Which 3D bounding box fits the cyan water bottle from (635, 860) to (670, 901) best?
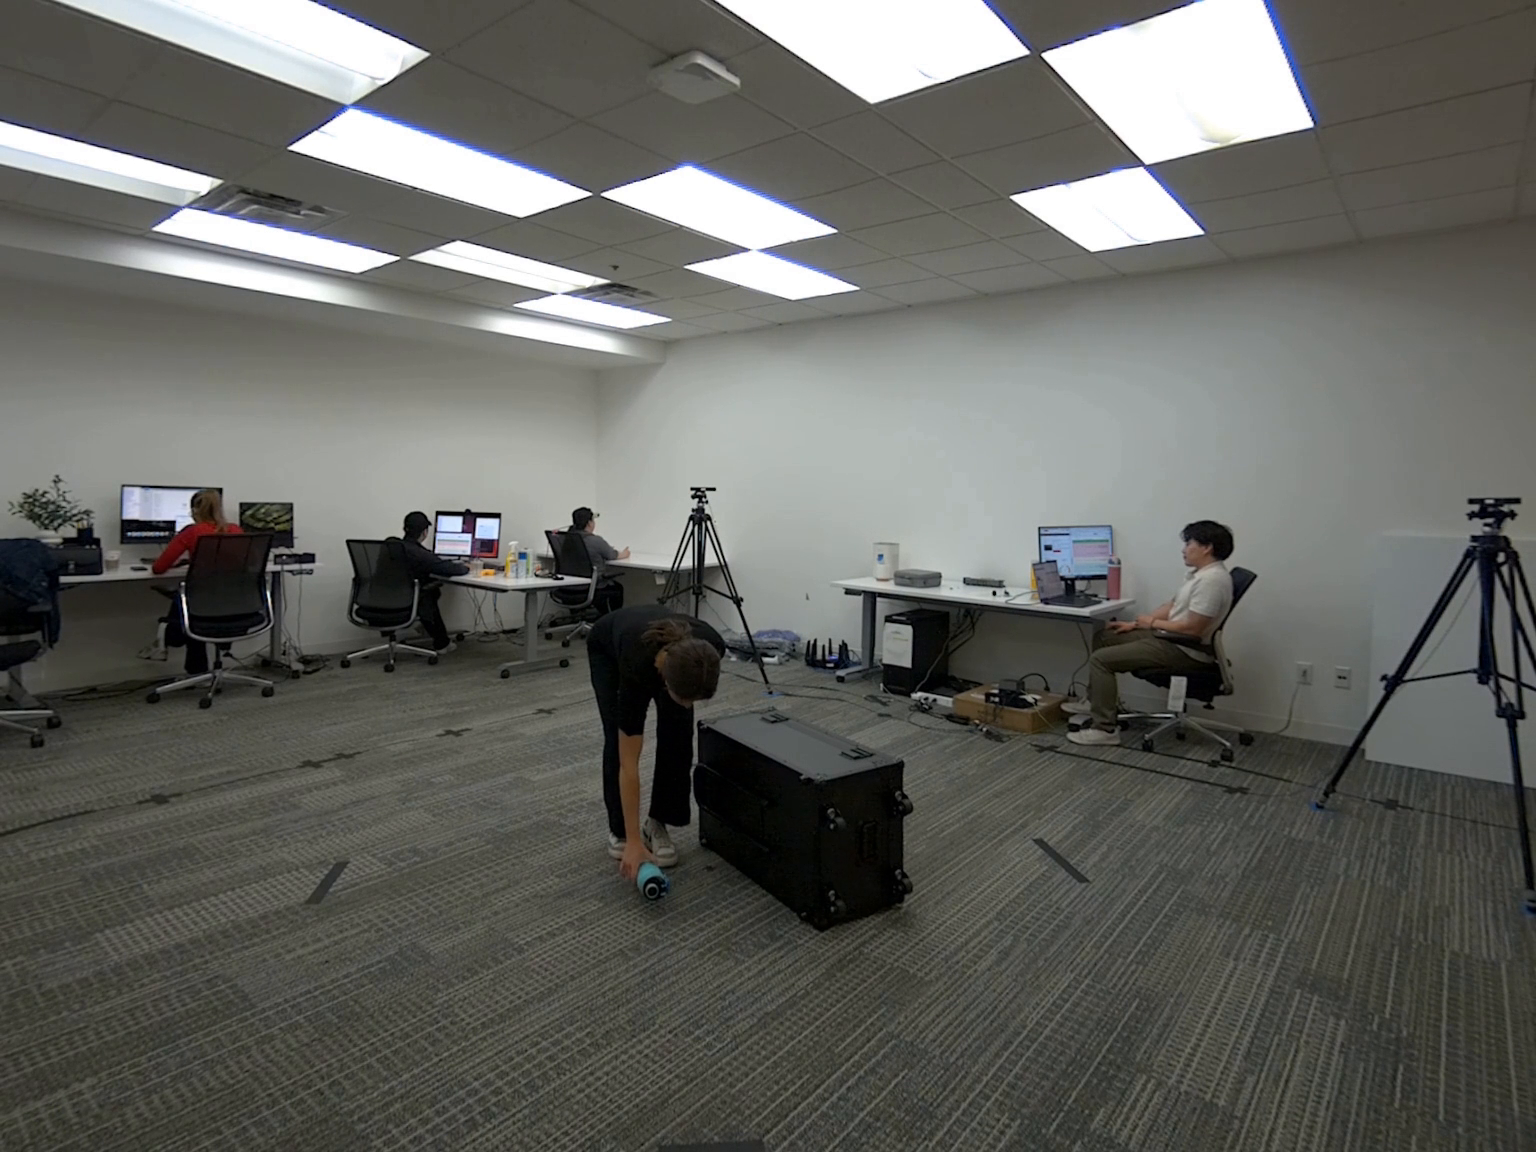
[{"bbox_3d":[-0.416,1.010,2.871,0.090,0.092,0.288,0,-1,-20],"label":"cyan water bottle"}]
